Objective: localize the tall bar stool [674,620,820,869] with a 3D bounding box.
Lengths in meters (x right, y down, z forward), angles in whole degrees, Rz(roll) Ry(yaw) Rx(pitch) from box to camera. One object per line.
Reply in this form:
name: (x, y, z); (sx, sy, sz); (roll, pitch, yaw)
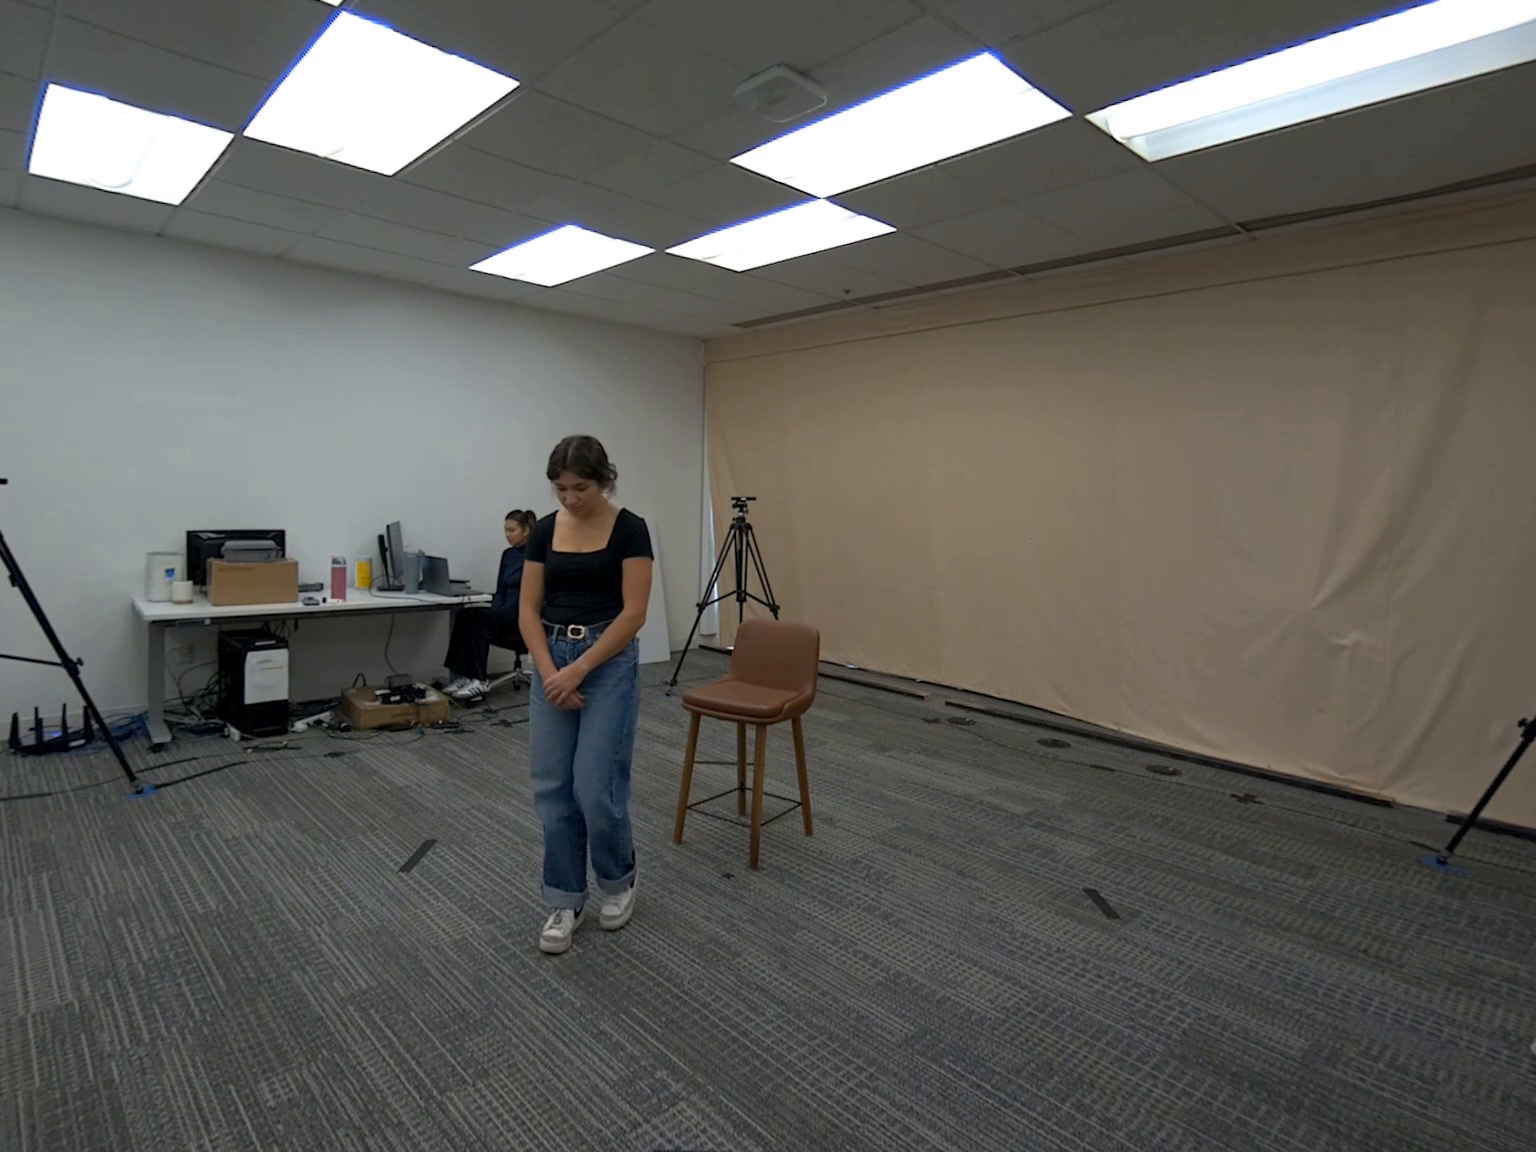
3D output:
tall bar stool: (-0.080, 0.645, 3.431); (0.467, 0.889, 0.457); (4, 2, 37)
